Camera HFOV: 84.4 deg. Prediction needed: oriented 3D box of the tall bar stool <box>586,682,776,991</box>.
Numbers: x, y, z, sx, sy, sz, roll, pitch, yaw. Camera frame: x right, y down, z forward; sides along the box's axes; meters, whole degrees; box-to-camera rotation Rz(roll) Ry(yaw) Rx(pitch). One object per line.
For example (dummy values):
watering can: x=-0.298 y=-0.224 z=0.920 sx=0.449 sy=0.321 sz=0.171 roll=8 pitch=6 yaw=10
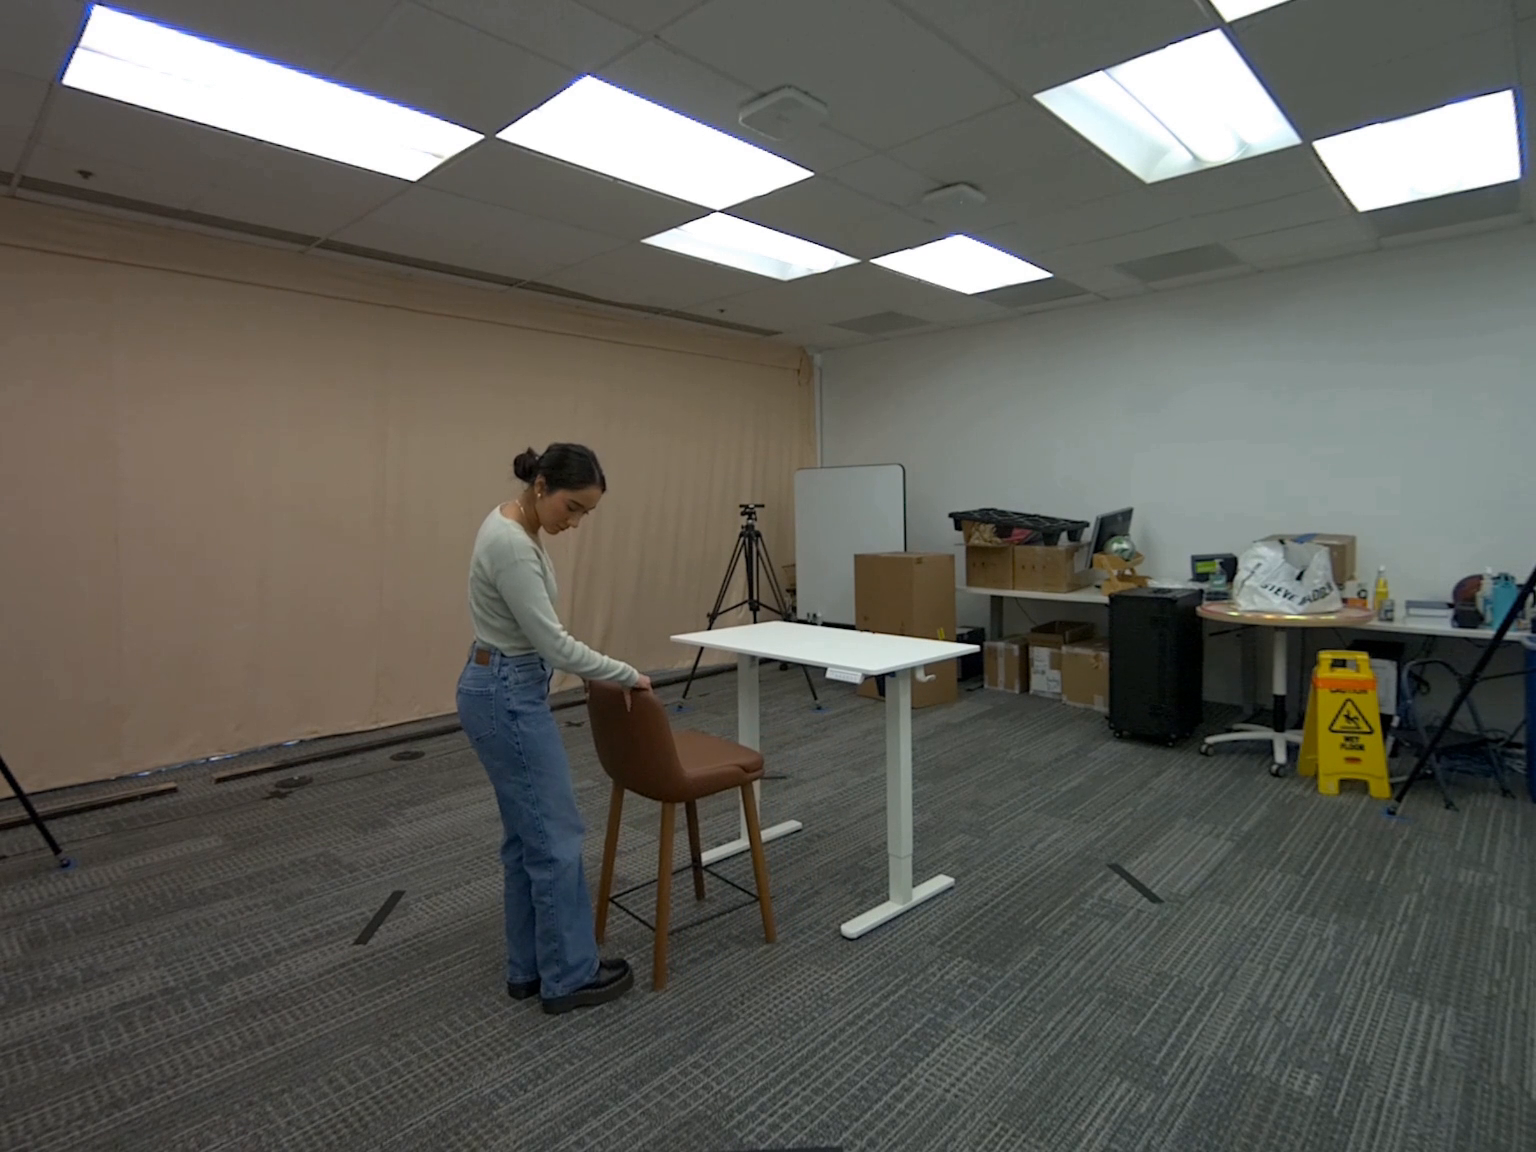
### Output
tall bar stool: x=-0.291 y=0.733 z=2.664 sx=0.454 sy=0.887 sz=0.471 roll=-6 pitch=6 yaw=-39
